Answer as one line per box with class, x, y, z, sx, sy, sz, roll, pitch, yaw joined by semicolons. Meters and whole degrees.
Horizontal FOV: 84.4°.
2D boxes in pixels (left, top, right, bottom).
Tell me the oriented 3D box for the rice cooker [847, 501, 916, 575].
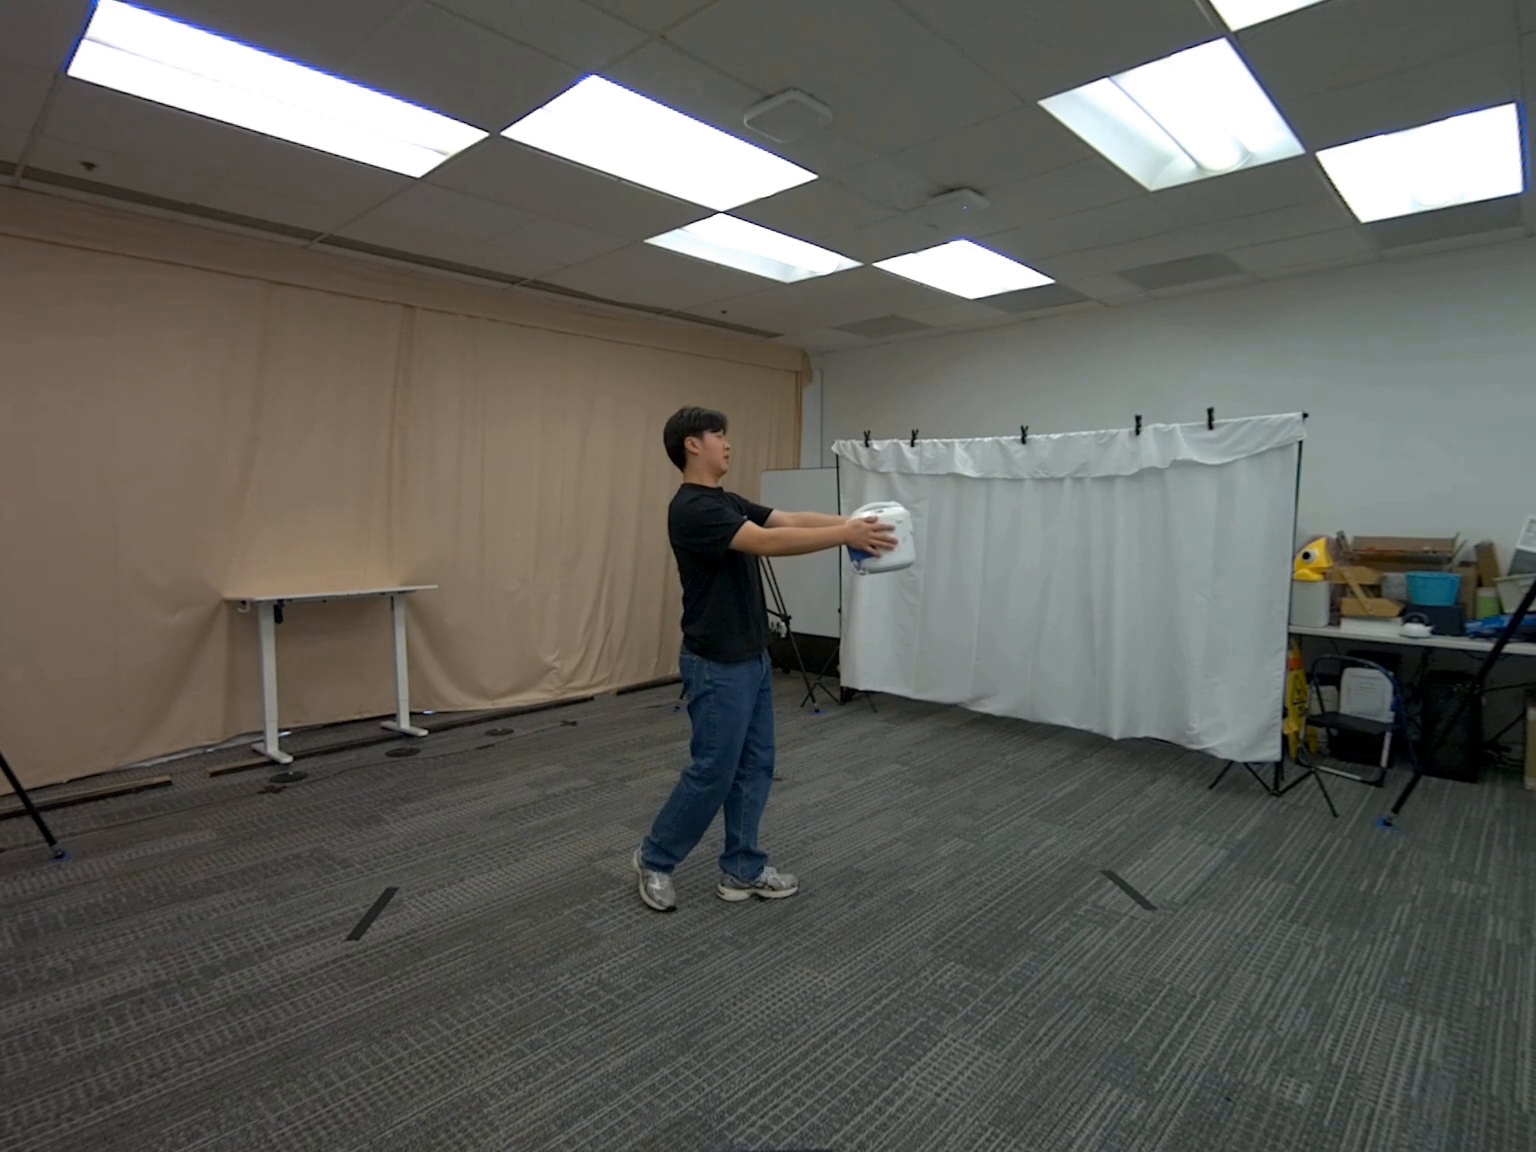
rice cooker;0.377;-0.132;2.811;0.225;0.232;0.213;-8;2;22
